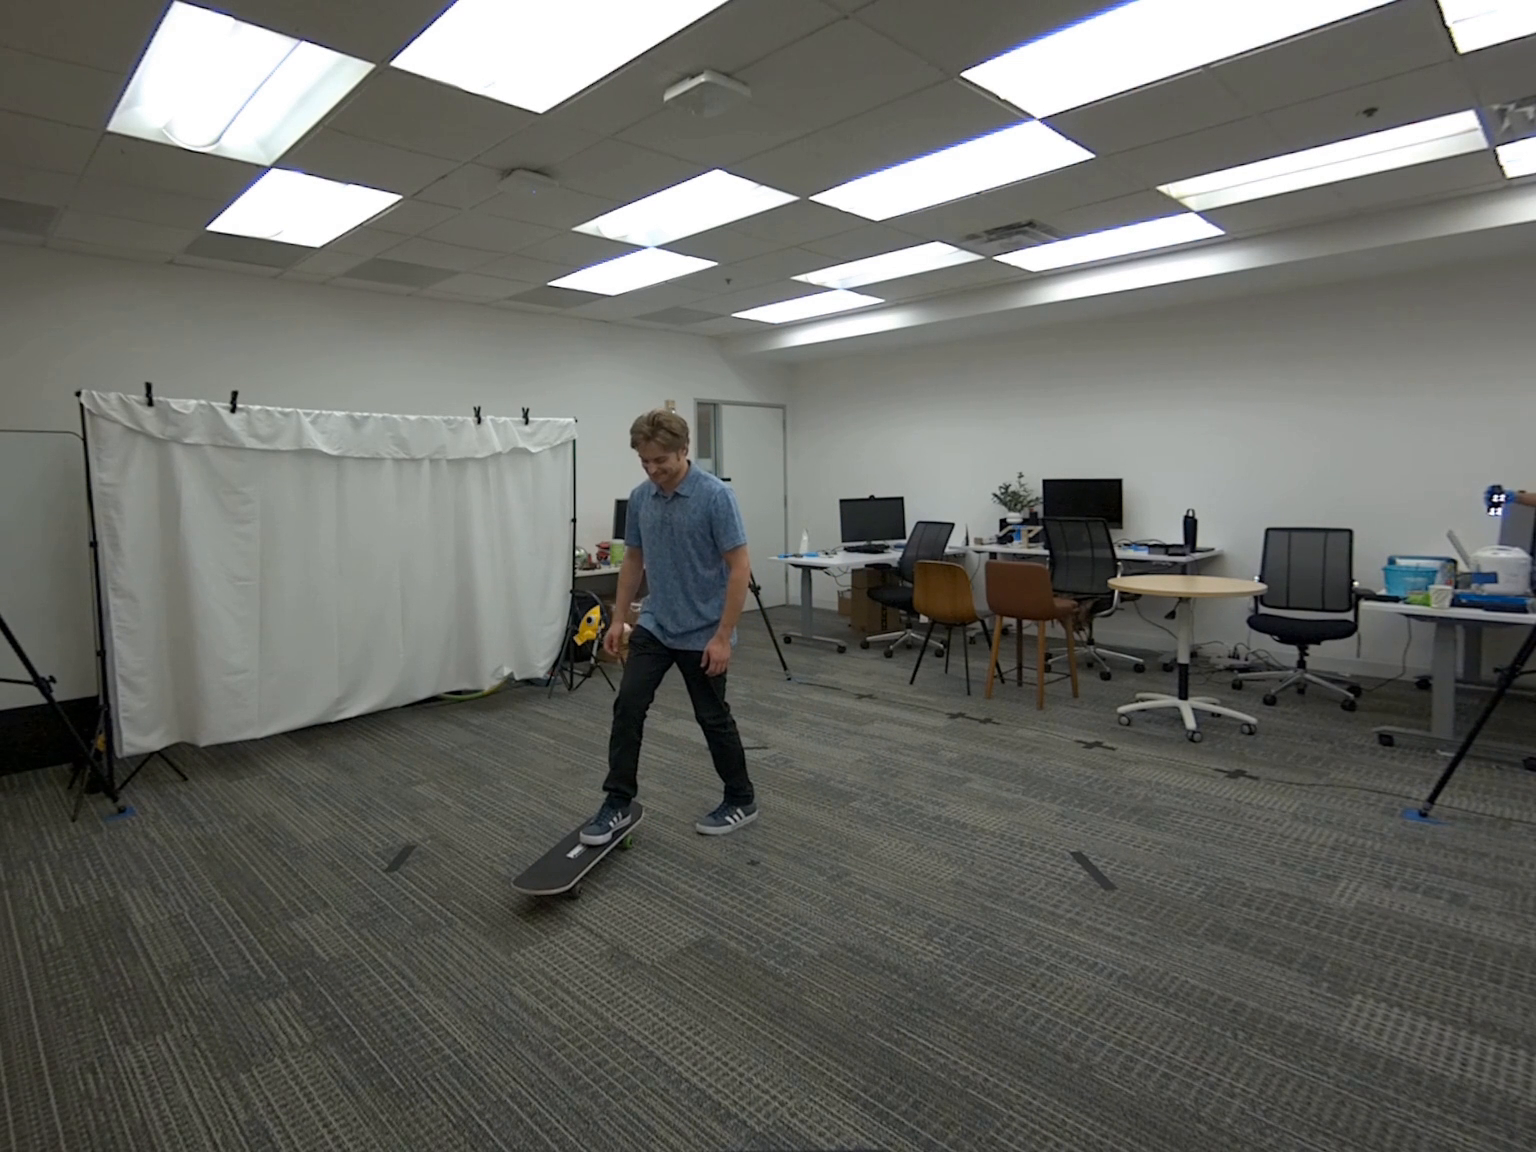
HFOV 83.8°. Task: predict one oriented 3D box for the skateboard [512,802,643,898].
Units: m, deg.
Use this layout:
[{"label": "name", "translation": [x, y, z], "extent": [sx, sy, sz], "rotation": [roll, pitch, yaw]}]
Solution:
[{"label": "skateboard", "translation": [-0.656, 0.997, 3.077], "extent": [0.197, 0.110, 0.776], "rotation": [2, 7, 15]}]
